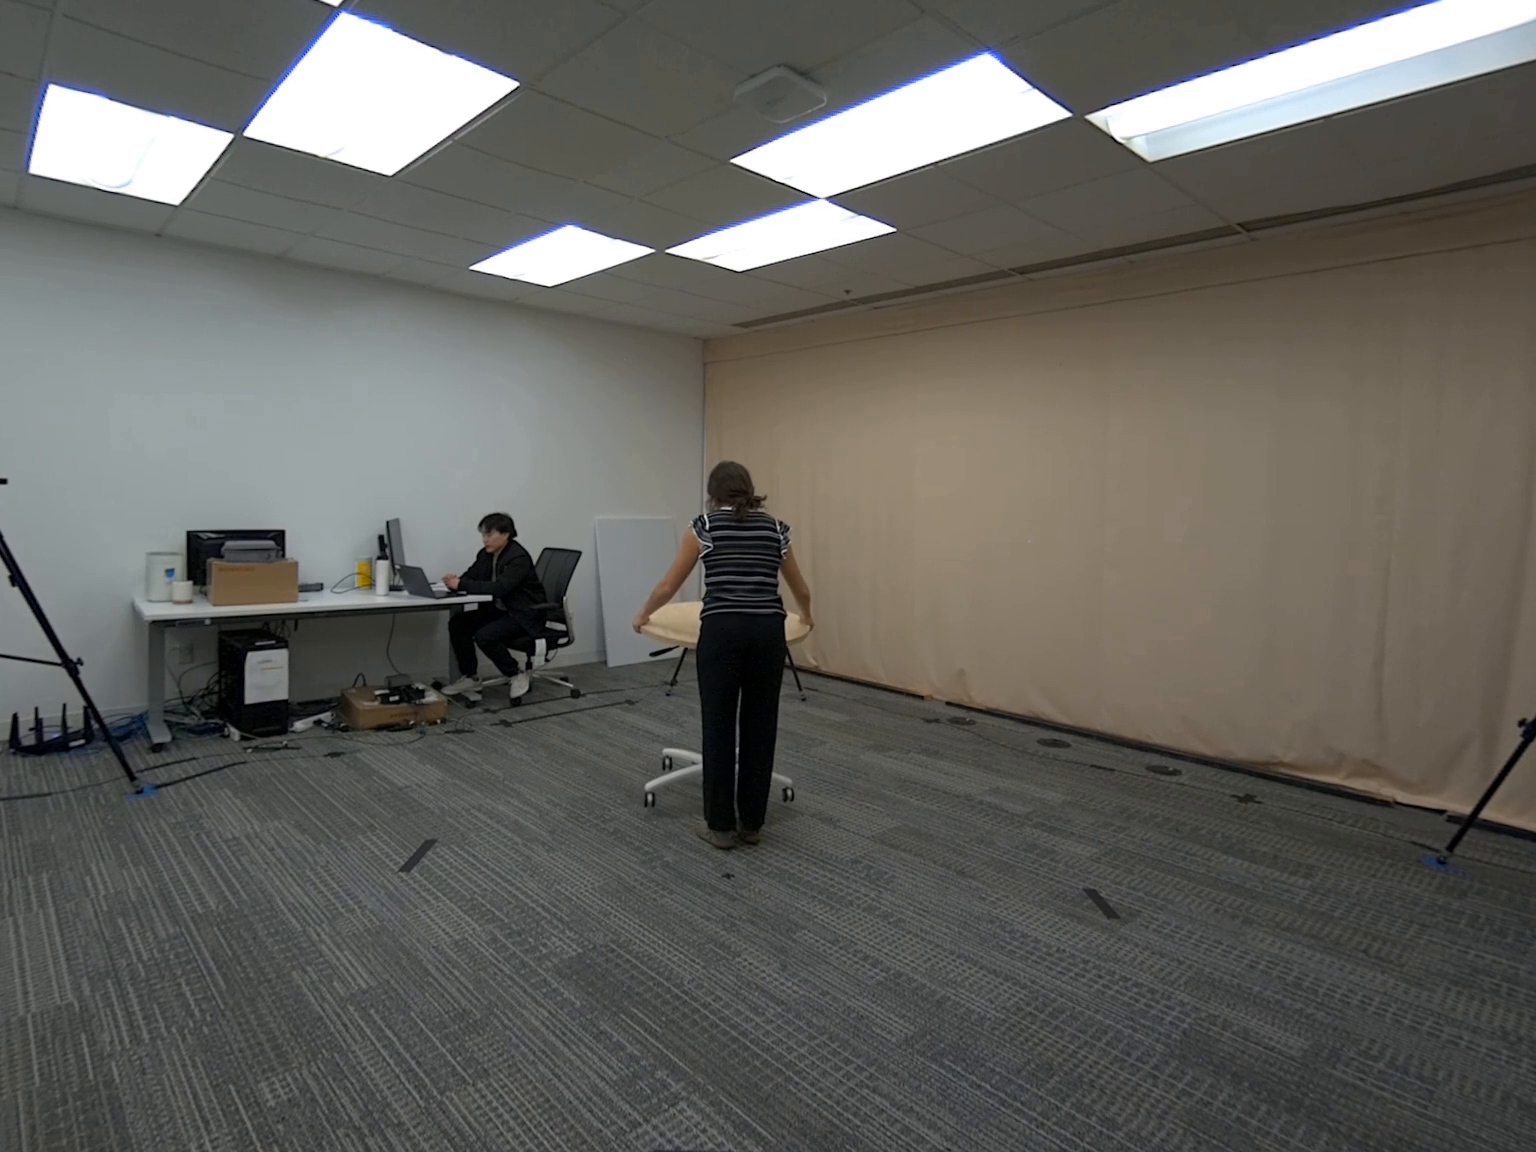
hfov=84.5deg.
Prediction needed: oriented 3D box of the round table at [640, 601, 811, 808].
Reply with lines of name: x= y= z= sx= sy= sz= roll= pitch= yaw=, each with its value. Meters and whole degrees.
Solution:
round table: x=-0.227 y=0.602 z=3.808 sx=0.763 sy=0.789 sz=0.770 roll=3 pitch=10 yaw=-2
